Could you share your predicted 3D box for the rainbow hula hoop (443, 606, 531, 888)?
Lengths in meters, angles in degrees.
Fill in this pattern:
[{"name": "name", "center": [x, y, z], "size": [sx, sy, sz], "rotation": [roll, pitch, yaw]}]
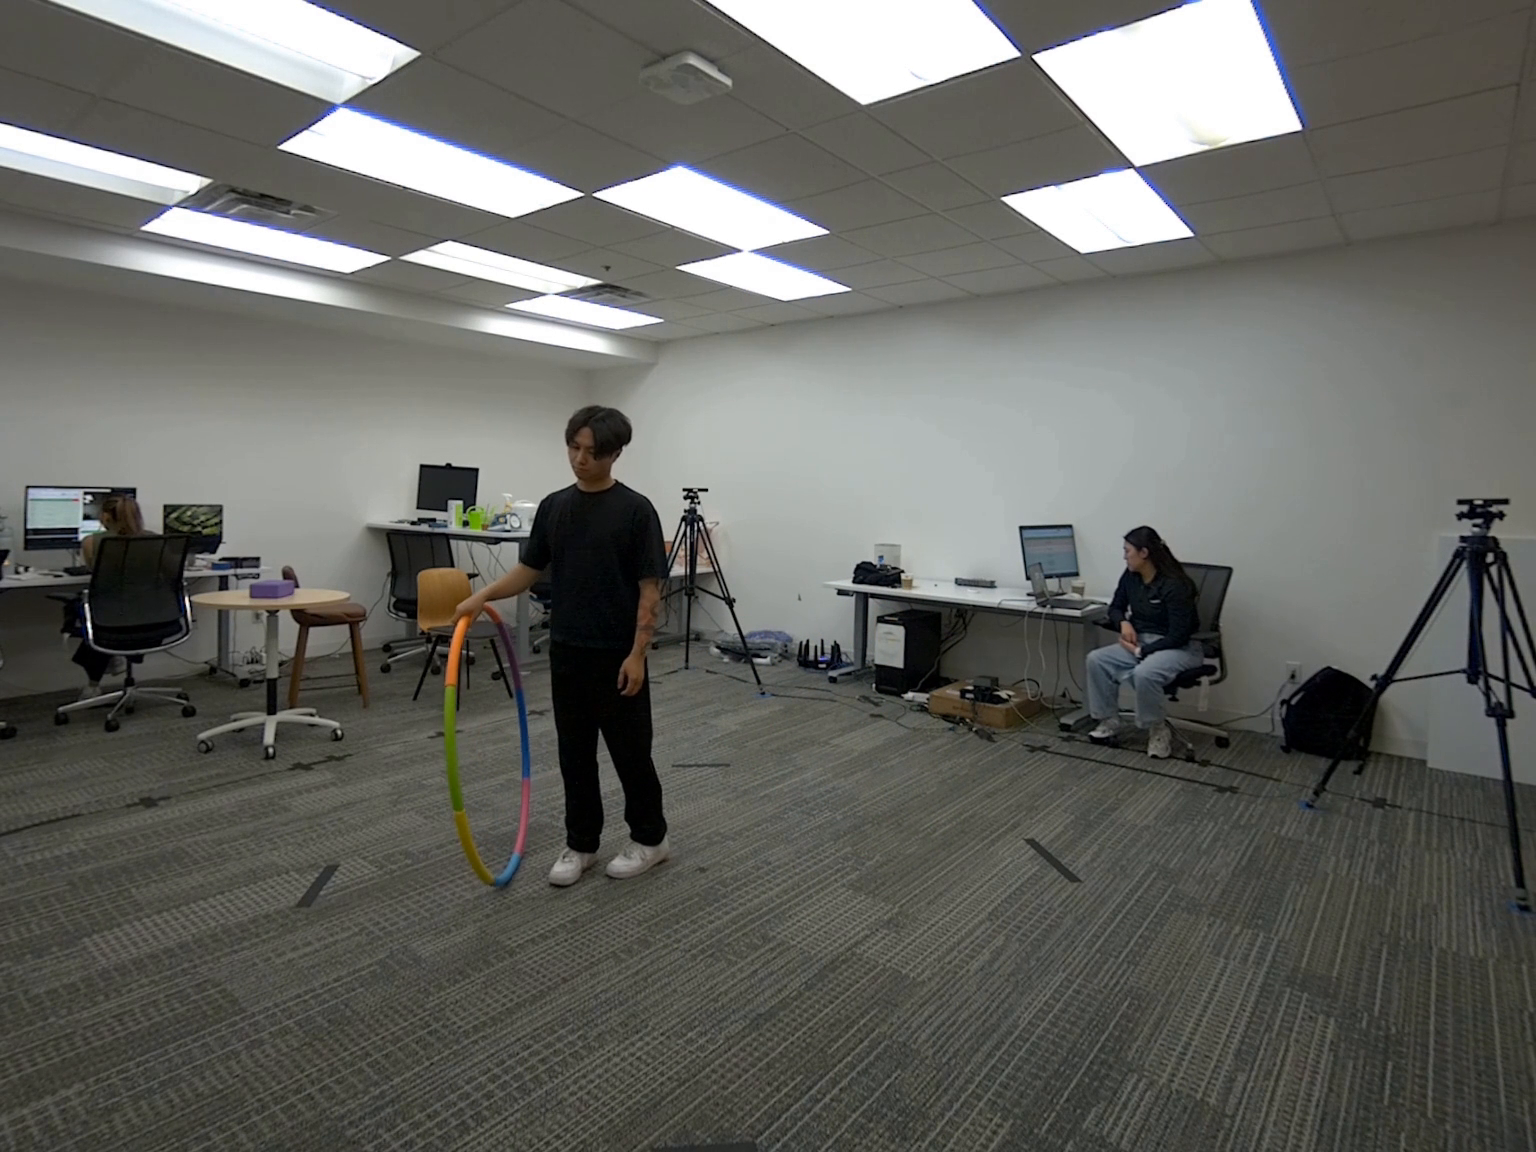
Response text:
[{"name": "rainbow hula hoop", "center": [-0.986, 0.582, 3.038], "size": [0.035, 0.975, 0.984], "rotation": [-7, 4, -4]}]
